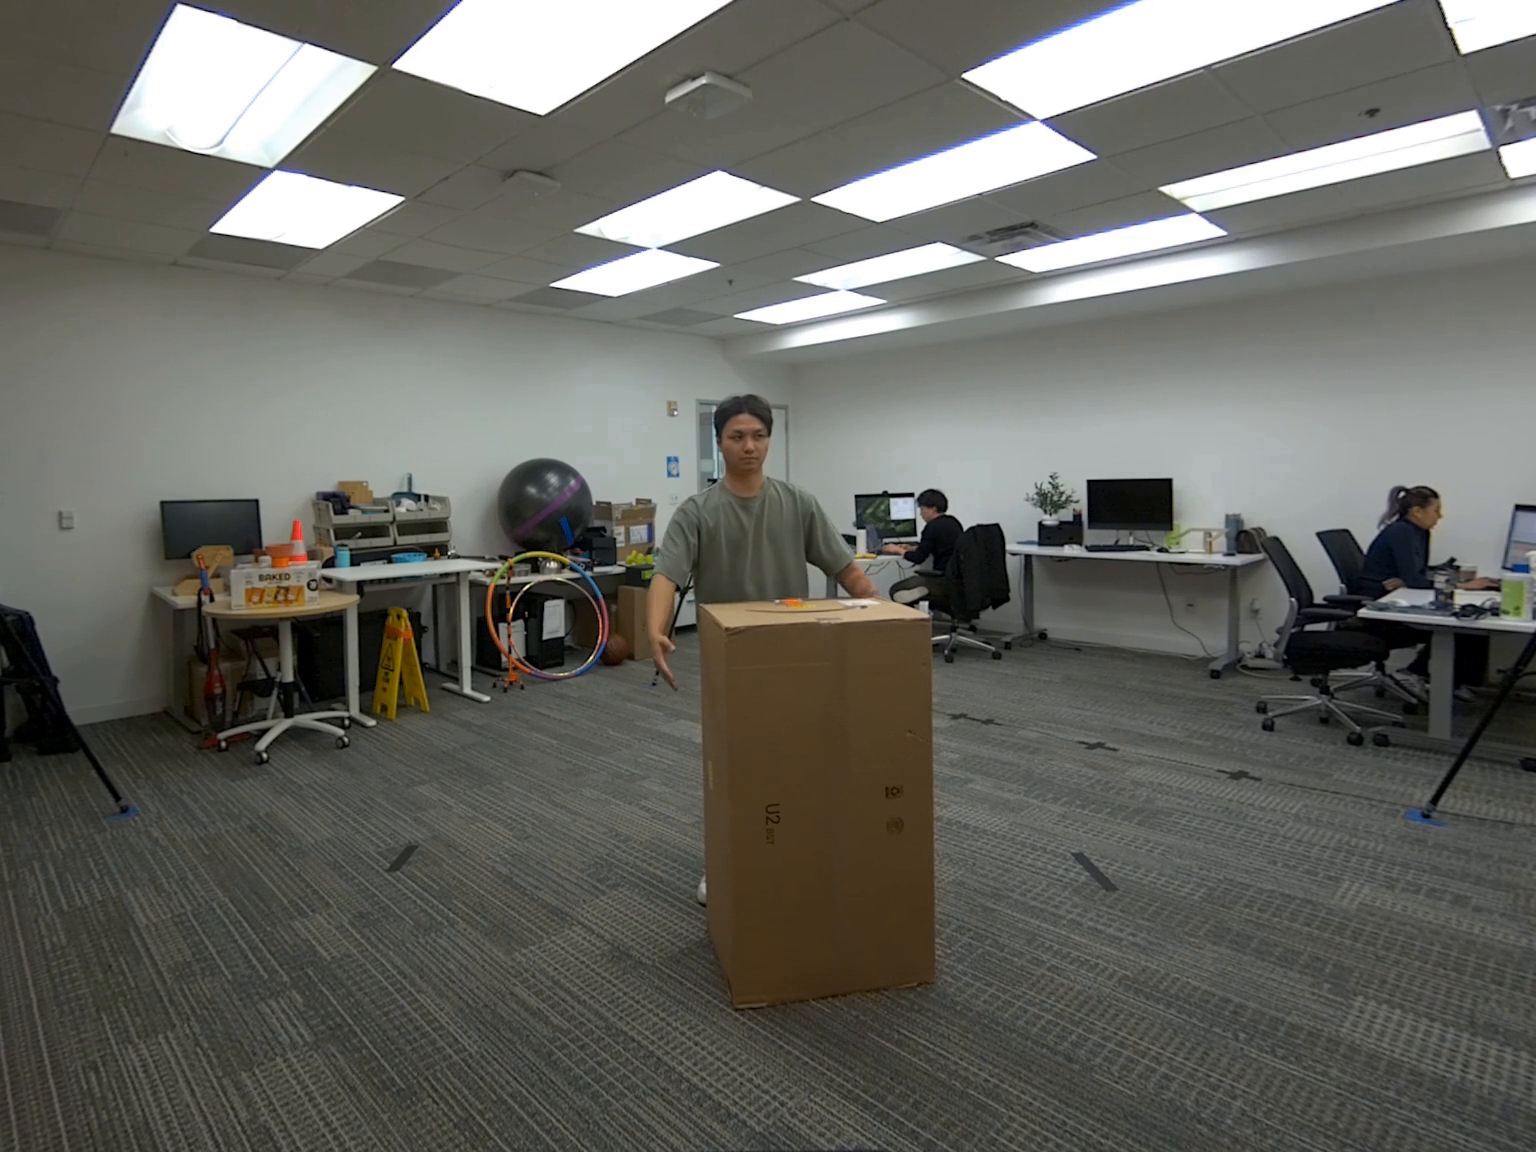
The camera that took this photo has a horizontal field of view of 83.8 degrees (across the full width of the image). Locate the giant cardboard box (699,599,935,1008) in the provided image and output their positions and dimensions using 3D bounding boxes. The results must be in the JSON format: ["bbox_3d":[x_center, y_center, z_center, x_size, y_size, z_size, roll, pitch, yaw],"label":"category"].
[{"bbox_3d":[0.122,0.608,2.476,0.572,1.022,0.432,-2,4,-10],"label":"giant cardboard box"}]
